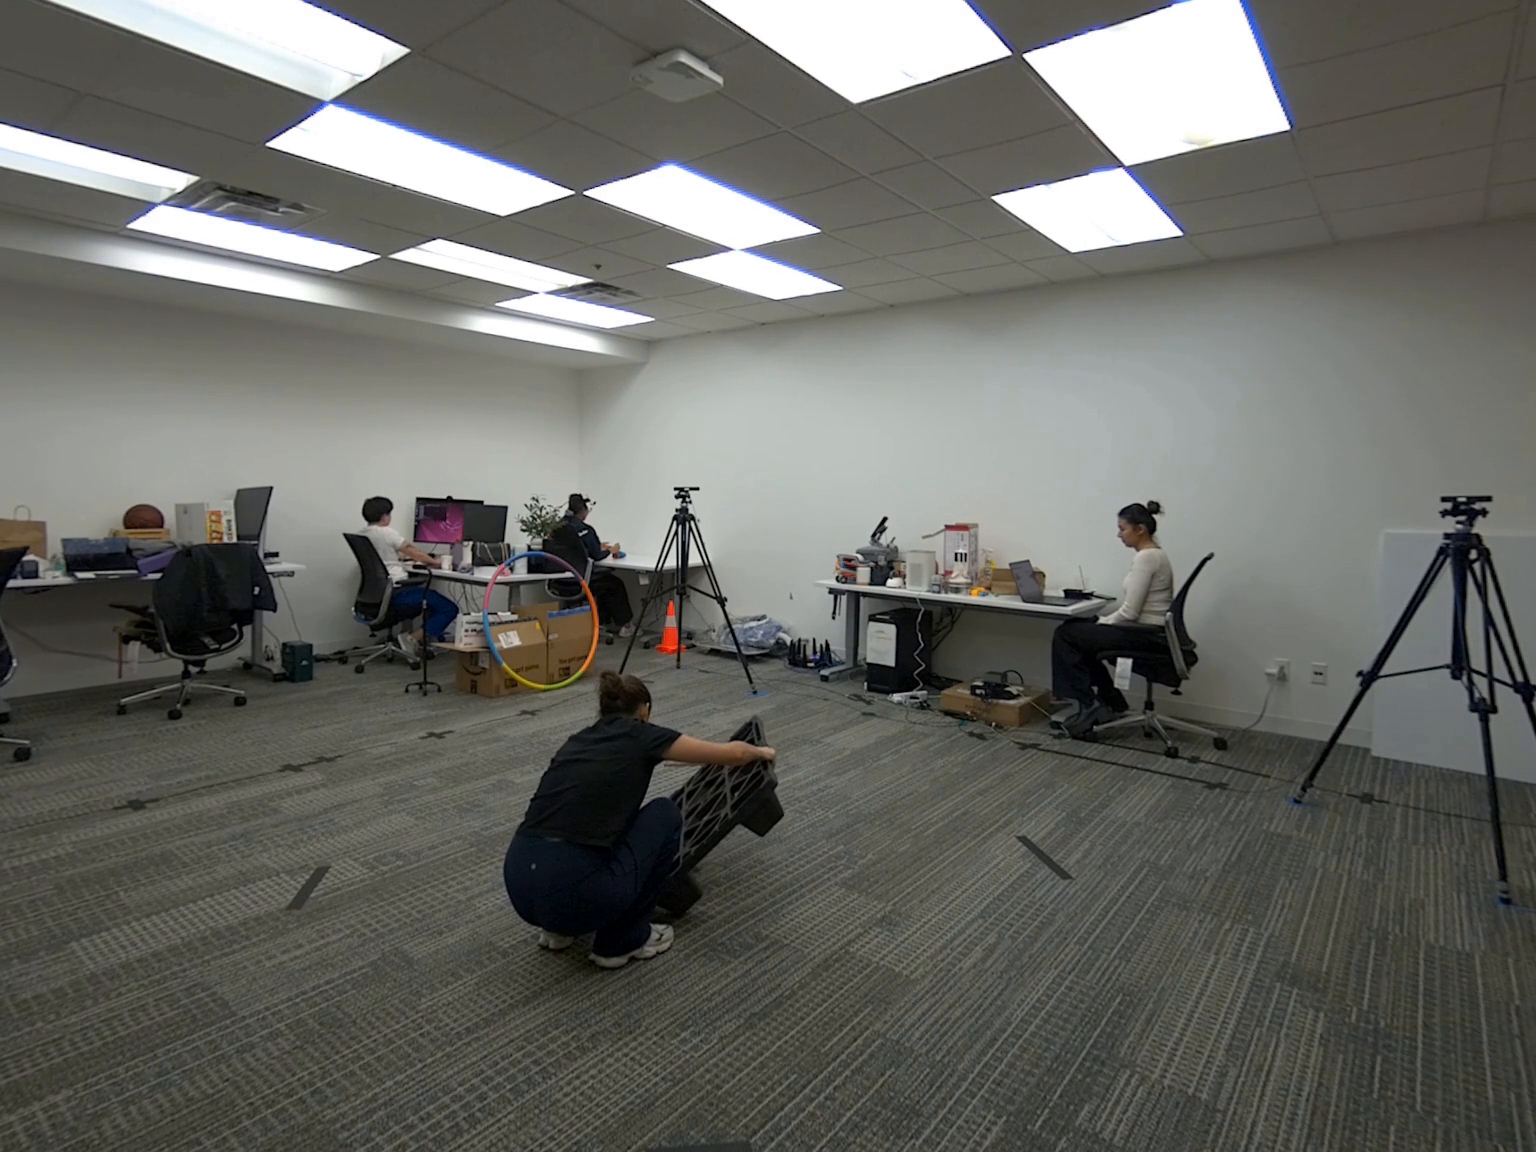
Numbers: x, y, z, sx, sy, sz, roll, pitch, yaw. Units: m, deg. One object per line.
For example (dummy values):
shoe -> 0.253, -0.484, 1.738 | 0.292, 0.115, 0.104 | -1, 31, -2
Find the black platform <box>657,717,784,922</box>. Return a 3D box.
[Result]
black platform -> -0.165, 0.843, 3.116 | 0.142, 0.605, 0.810 | 45, 2, -6
